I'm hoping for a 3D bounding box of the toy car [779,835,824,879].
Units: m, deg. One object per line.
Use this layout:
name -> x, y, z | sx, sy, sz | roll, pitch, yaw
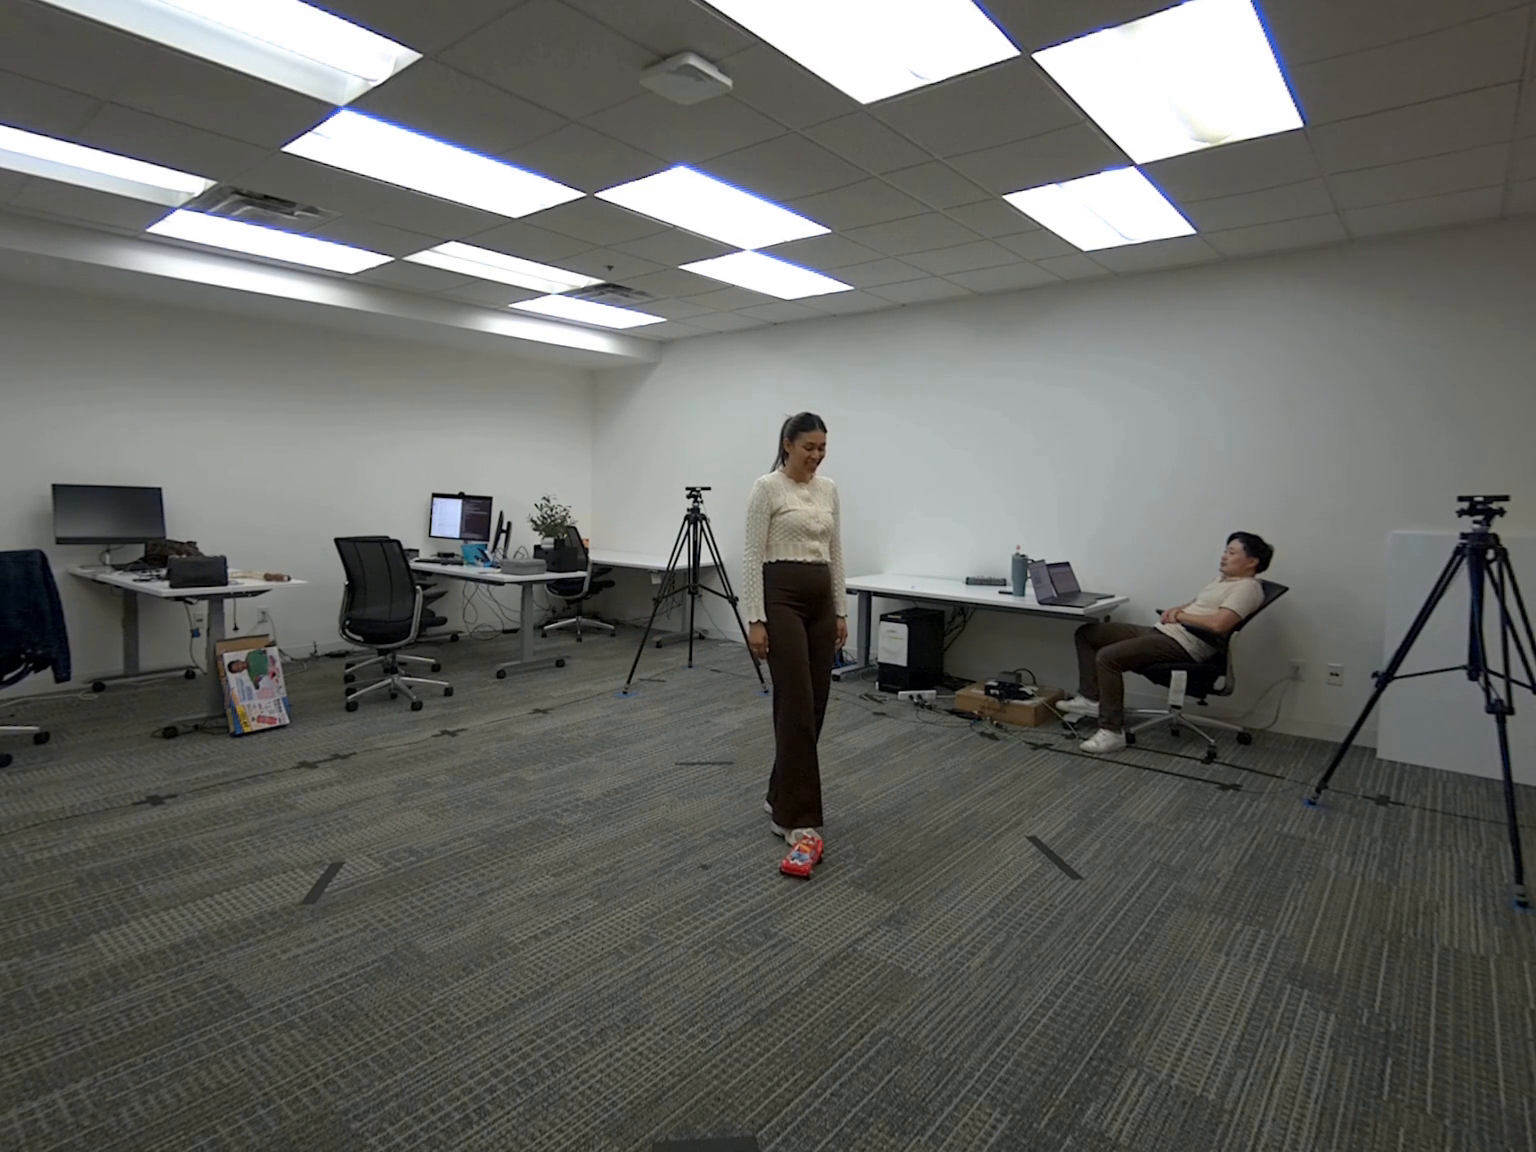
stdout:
toy car -> 0.124, 1.038, 3.148 | 0.133, 0.082, 0.253 | 2, 17, 19
